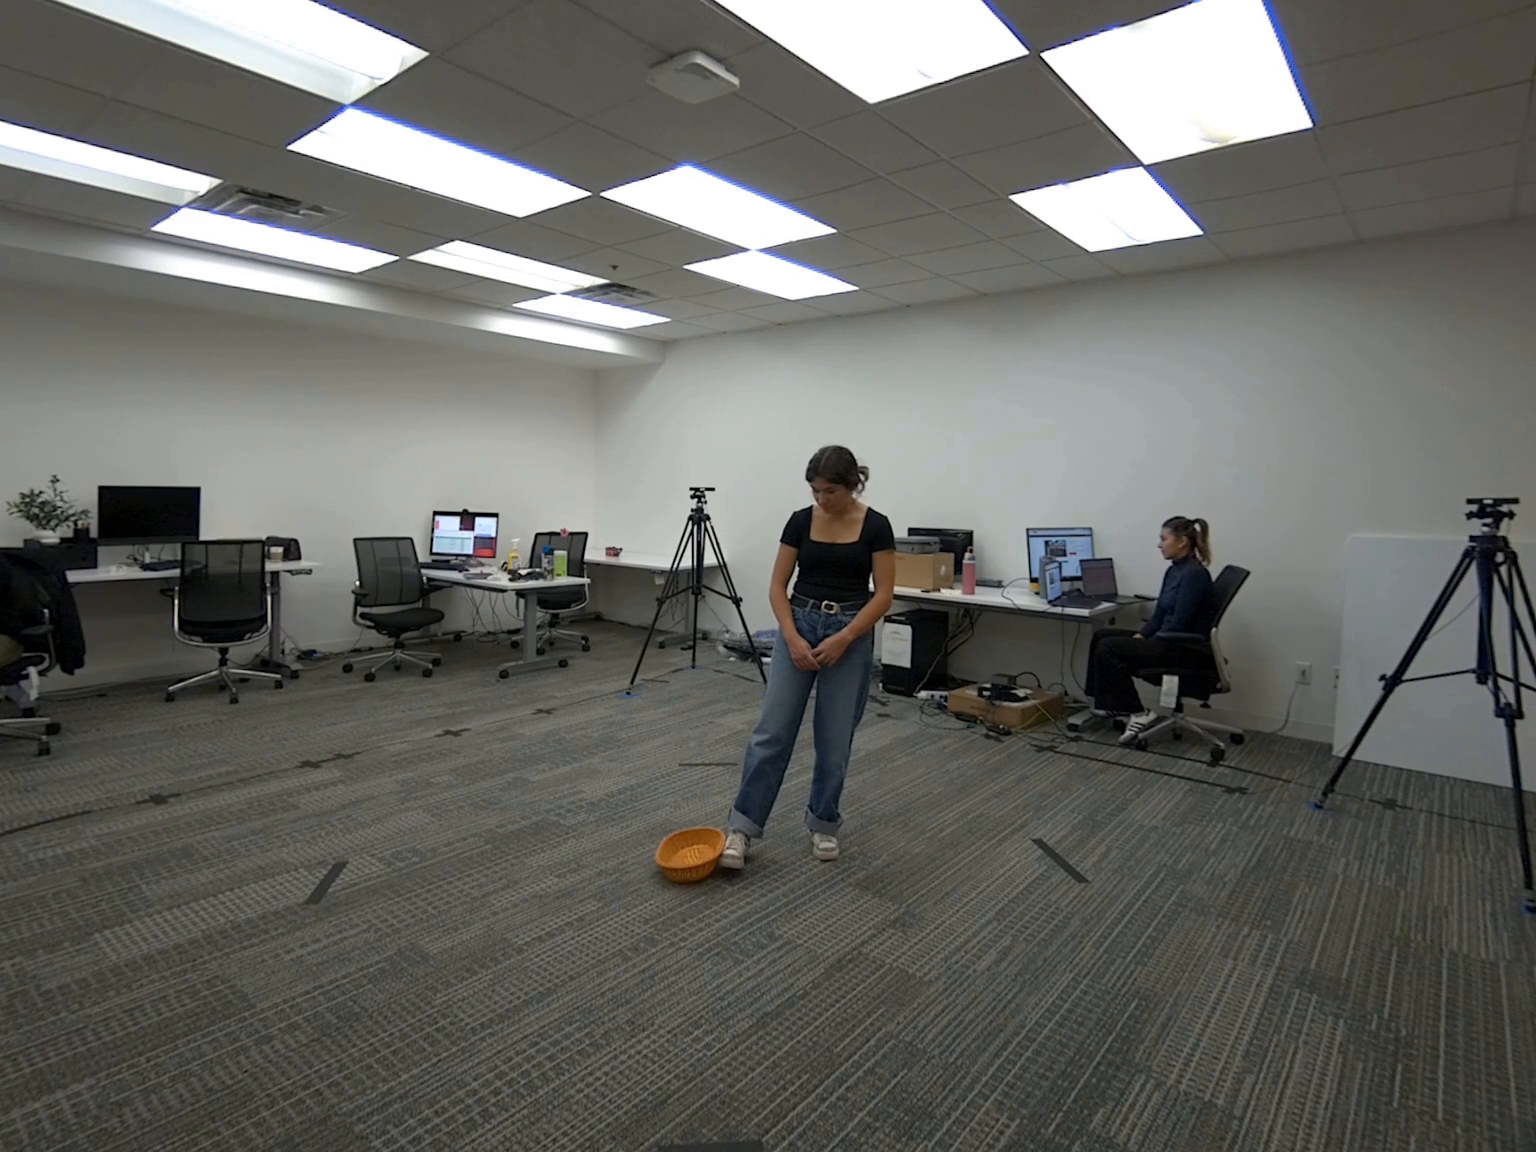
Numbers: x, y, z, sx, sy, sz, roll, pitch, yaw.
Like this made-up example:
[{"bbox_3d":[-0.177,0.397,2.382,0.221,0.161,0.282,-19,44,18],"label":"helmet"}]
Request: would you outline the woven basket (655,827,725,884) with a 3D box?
[{"bbox_3d":[-0.290,1.017,3.105,0.254,0.073,0.349,-7,5,8],"label":"woven basket"}]
